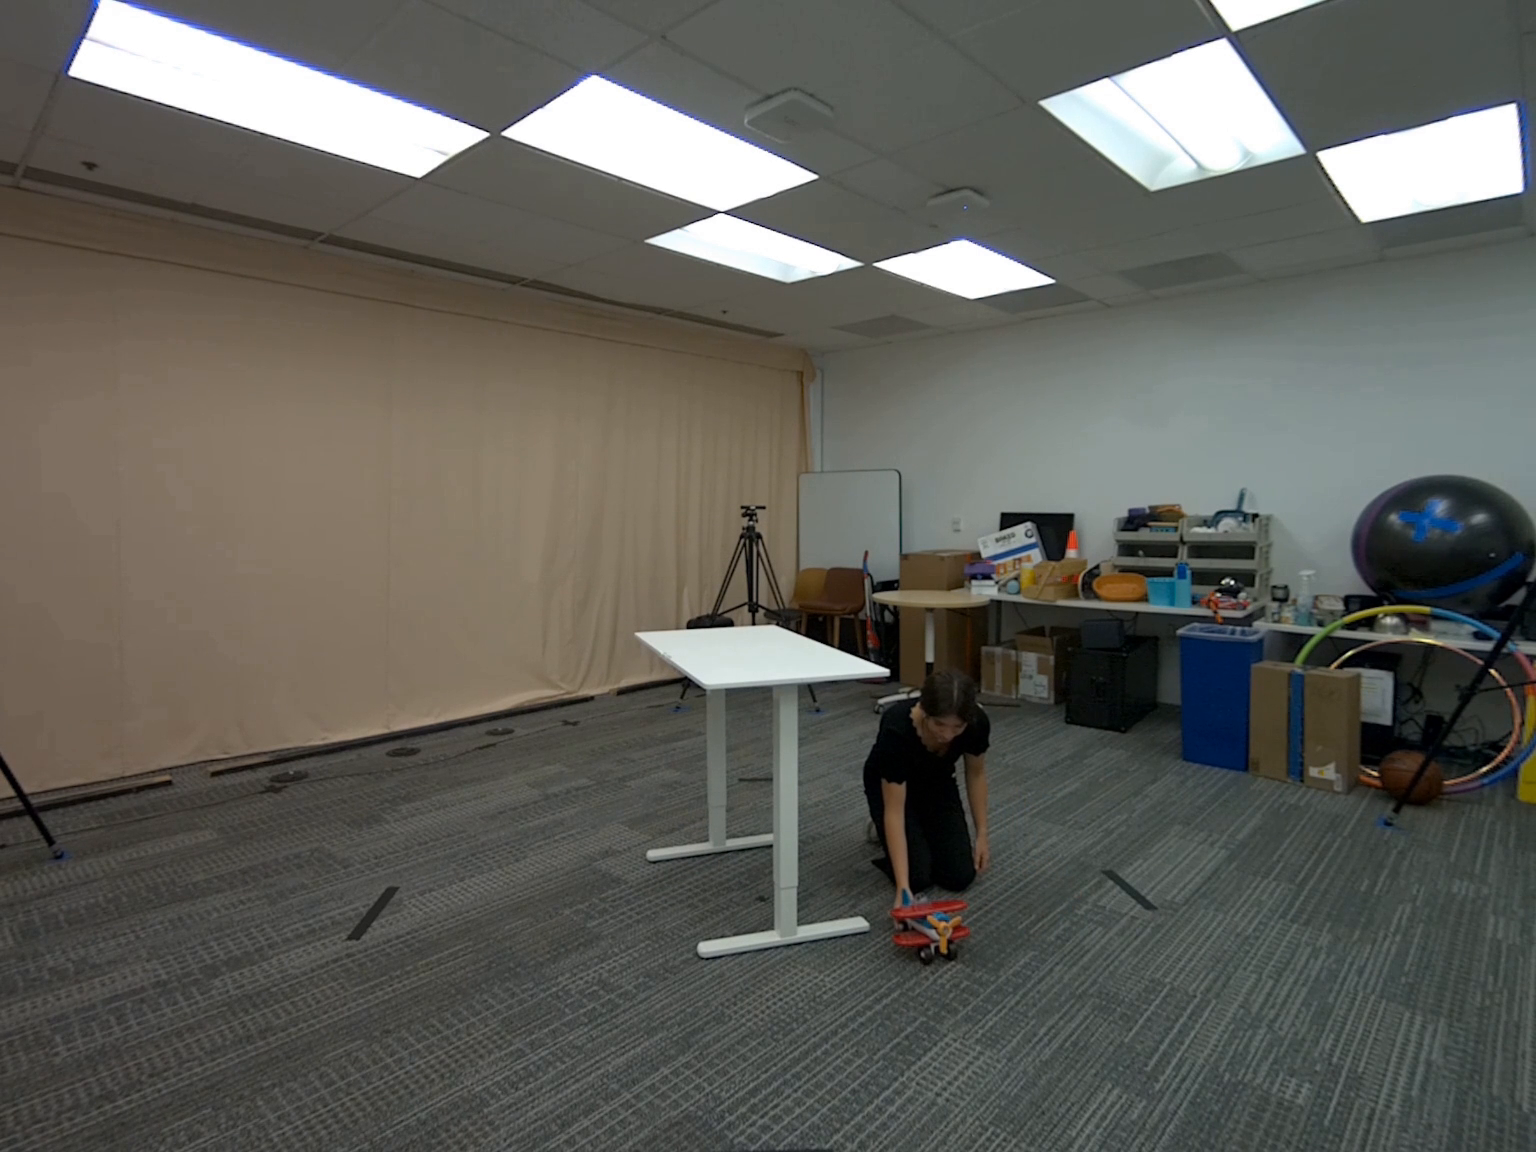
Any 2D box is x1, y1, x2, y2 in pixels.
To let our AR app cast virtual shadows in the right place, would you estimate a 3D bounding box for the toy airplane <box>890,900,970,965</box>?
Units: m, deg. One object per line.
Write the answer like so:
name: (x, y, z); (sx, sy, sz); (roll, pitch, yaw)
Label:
toy airplane: (0.479, 1.092, 2.643); (0.268, 0.156, 0.243); (9, 9, 43)
